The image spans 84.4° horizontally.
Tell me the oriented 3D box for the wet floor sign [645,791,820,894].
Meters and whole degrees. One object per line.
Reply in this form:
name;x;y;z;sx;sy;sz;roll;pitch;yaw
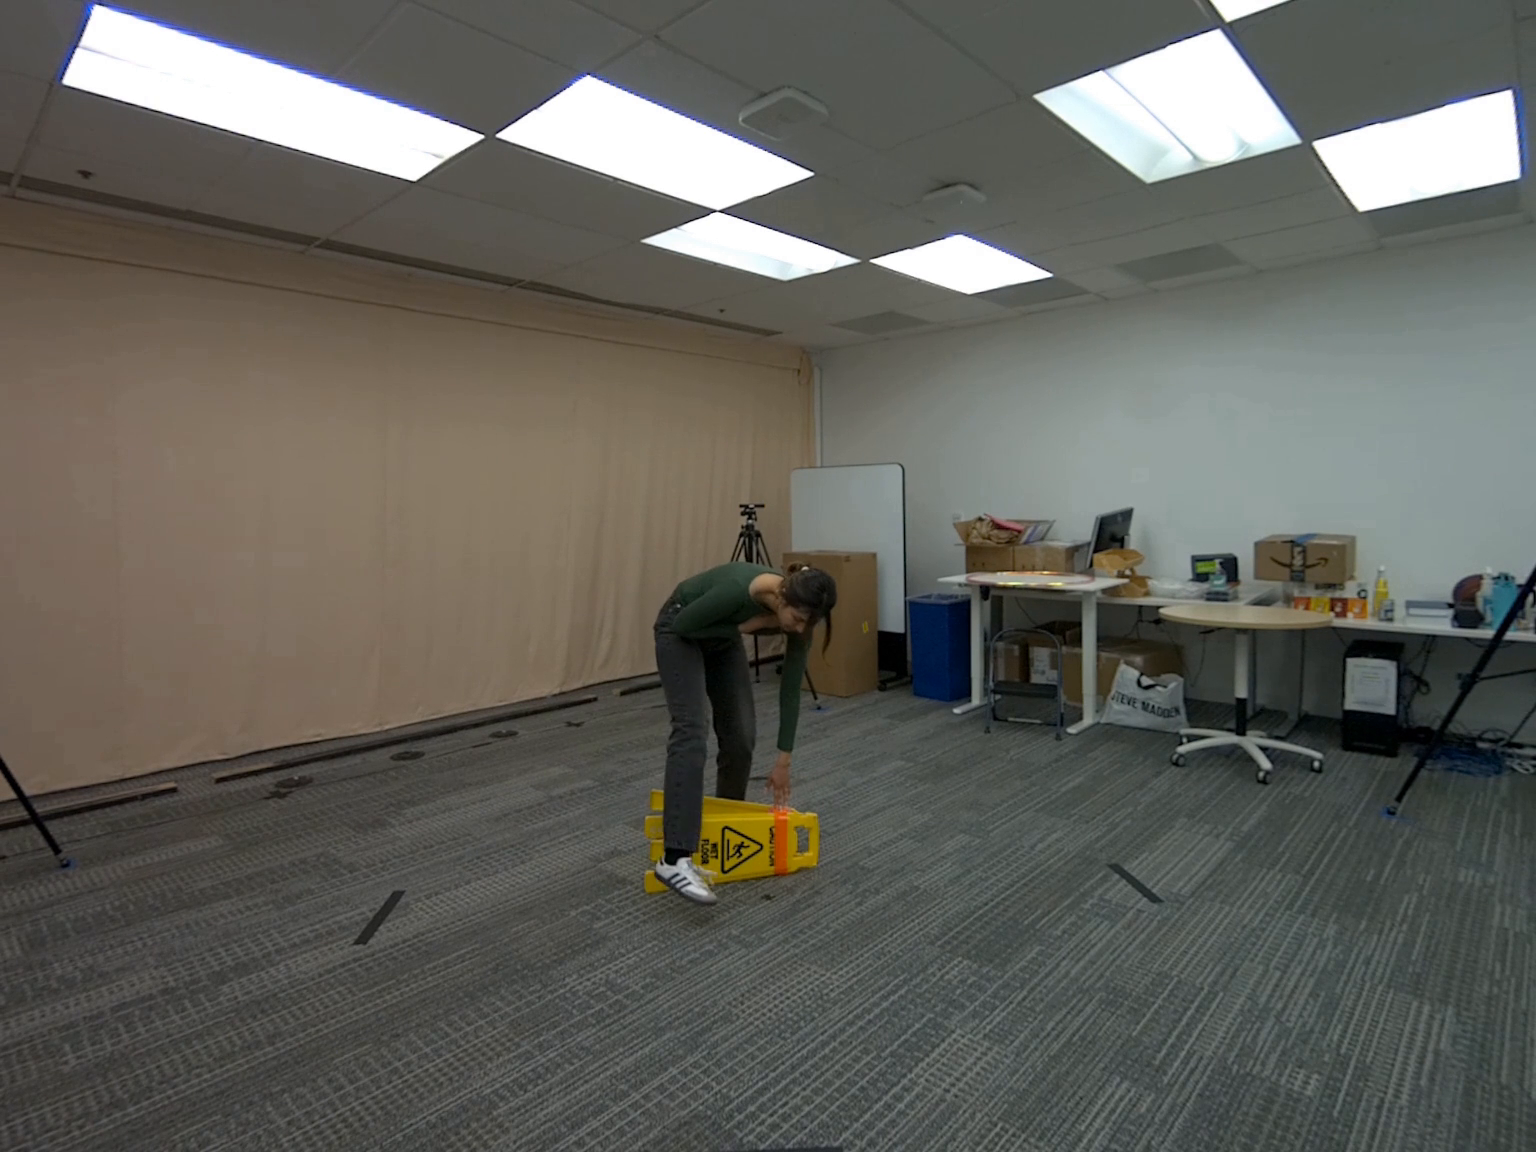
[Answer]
wet floor sign;-0.127;0.990;3.181;0.645;0.282;0.291;1;4;-2
